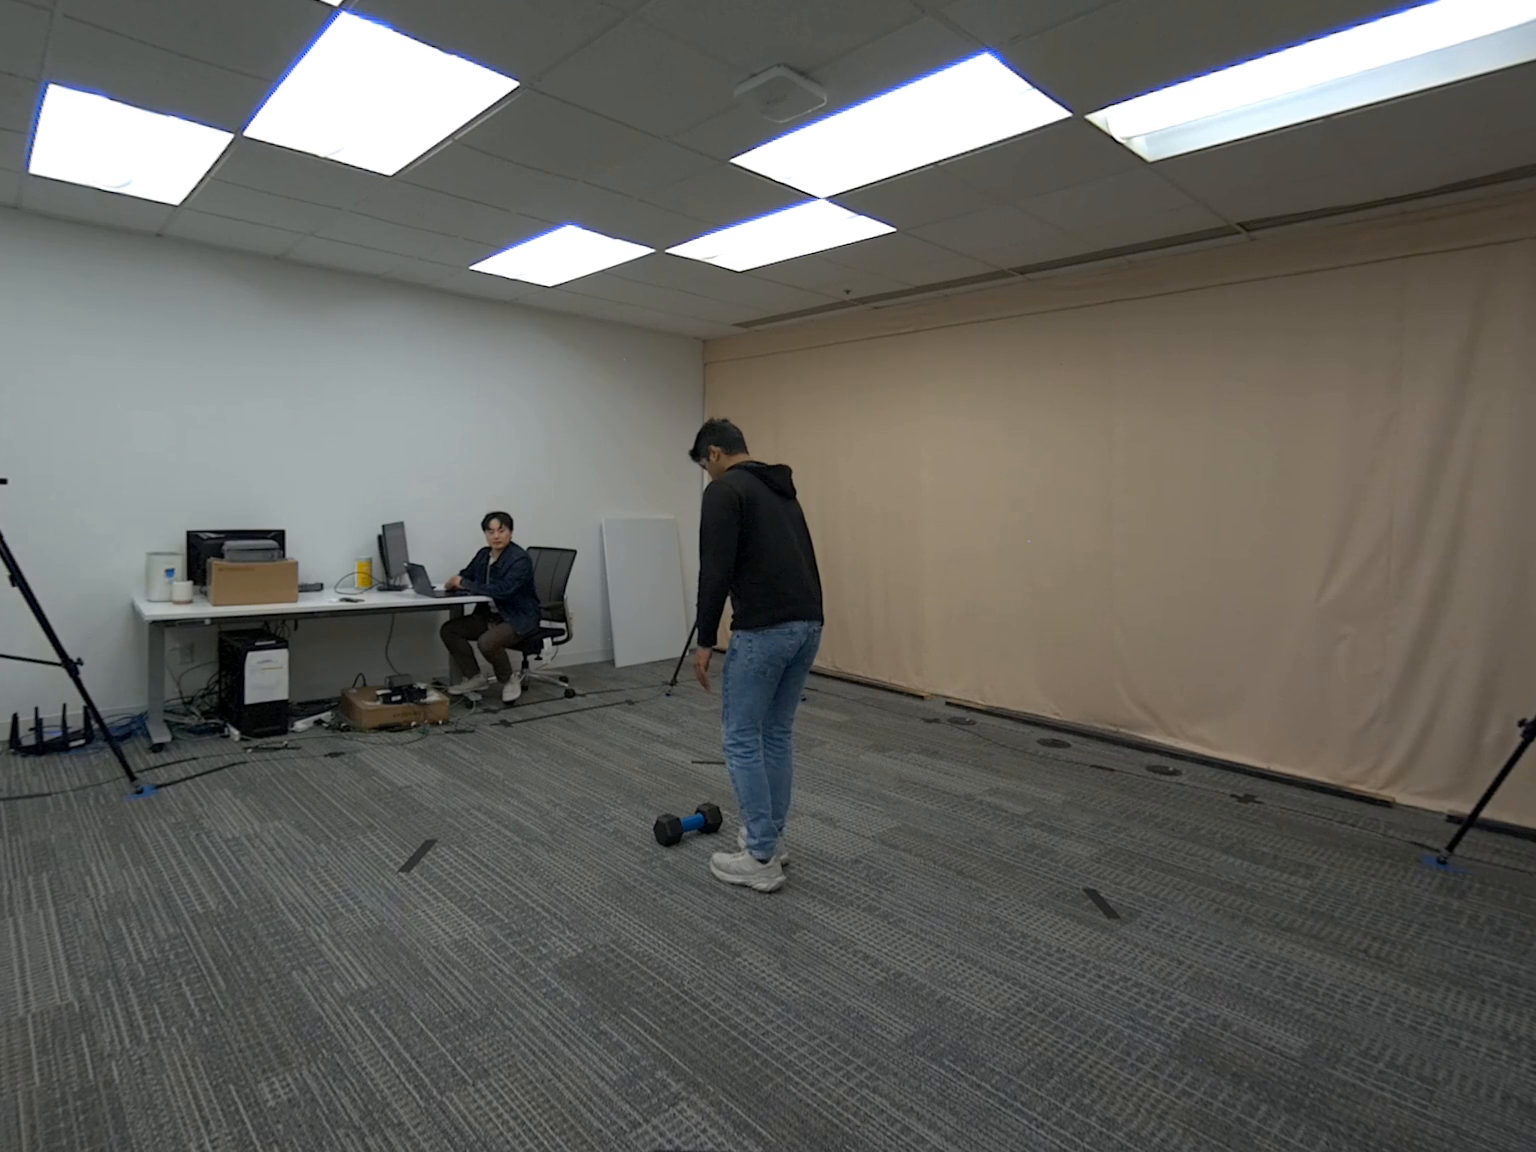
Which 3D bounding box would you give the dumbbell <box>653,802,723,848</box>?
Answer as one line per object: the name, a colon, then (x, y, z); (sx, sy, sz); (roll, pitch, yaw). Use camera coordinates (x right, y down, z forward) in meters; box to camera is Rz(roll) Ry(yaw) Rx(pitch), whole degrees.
dumbbell: (-0.333, 1.017, 3.455); (0.287, 0.108, 0.126); (-3, 7, -43)
